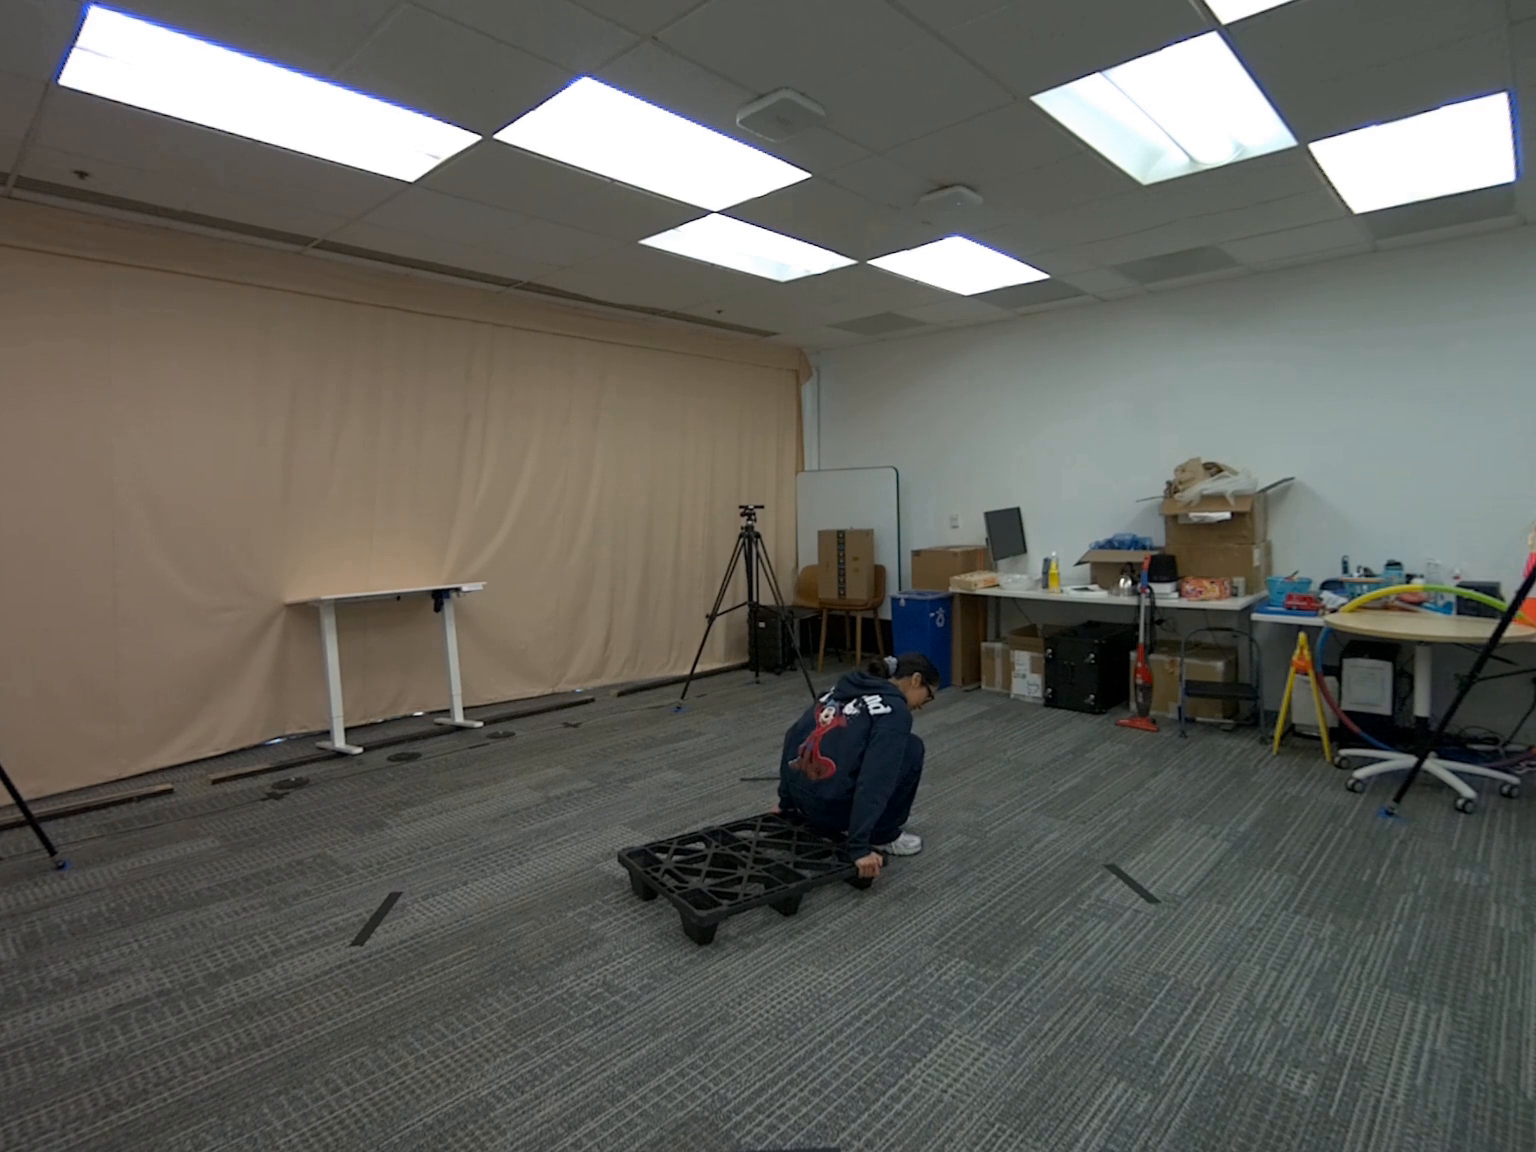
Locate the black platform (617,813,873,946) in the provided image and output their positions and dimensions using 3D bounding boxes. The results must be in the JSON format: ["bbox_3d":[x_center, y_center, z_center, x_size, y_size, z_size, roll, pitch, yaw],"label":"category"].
[{"bbox_3d":[-0.064,1.071,3.043,0.783,0.143,0.624,-4,5,-33],"label":"black platform"}]
